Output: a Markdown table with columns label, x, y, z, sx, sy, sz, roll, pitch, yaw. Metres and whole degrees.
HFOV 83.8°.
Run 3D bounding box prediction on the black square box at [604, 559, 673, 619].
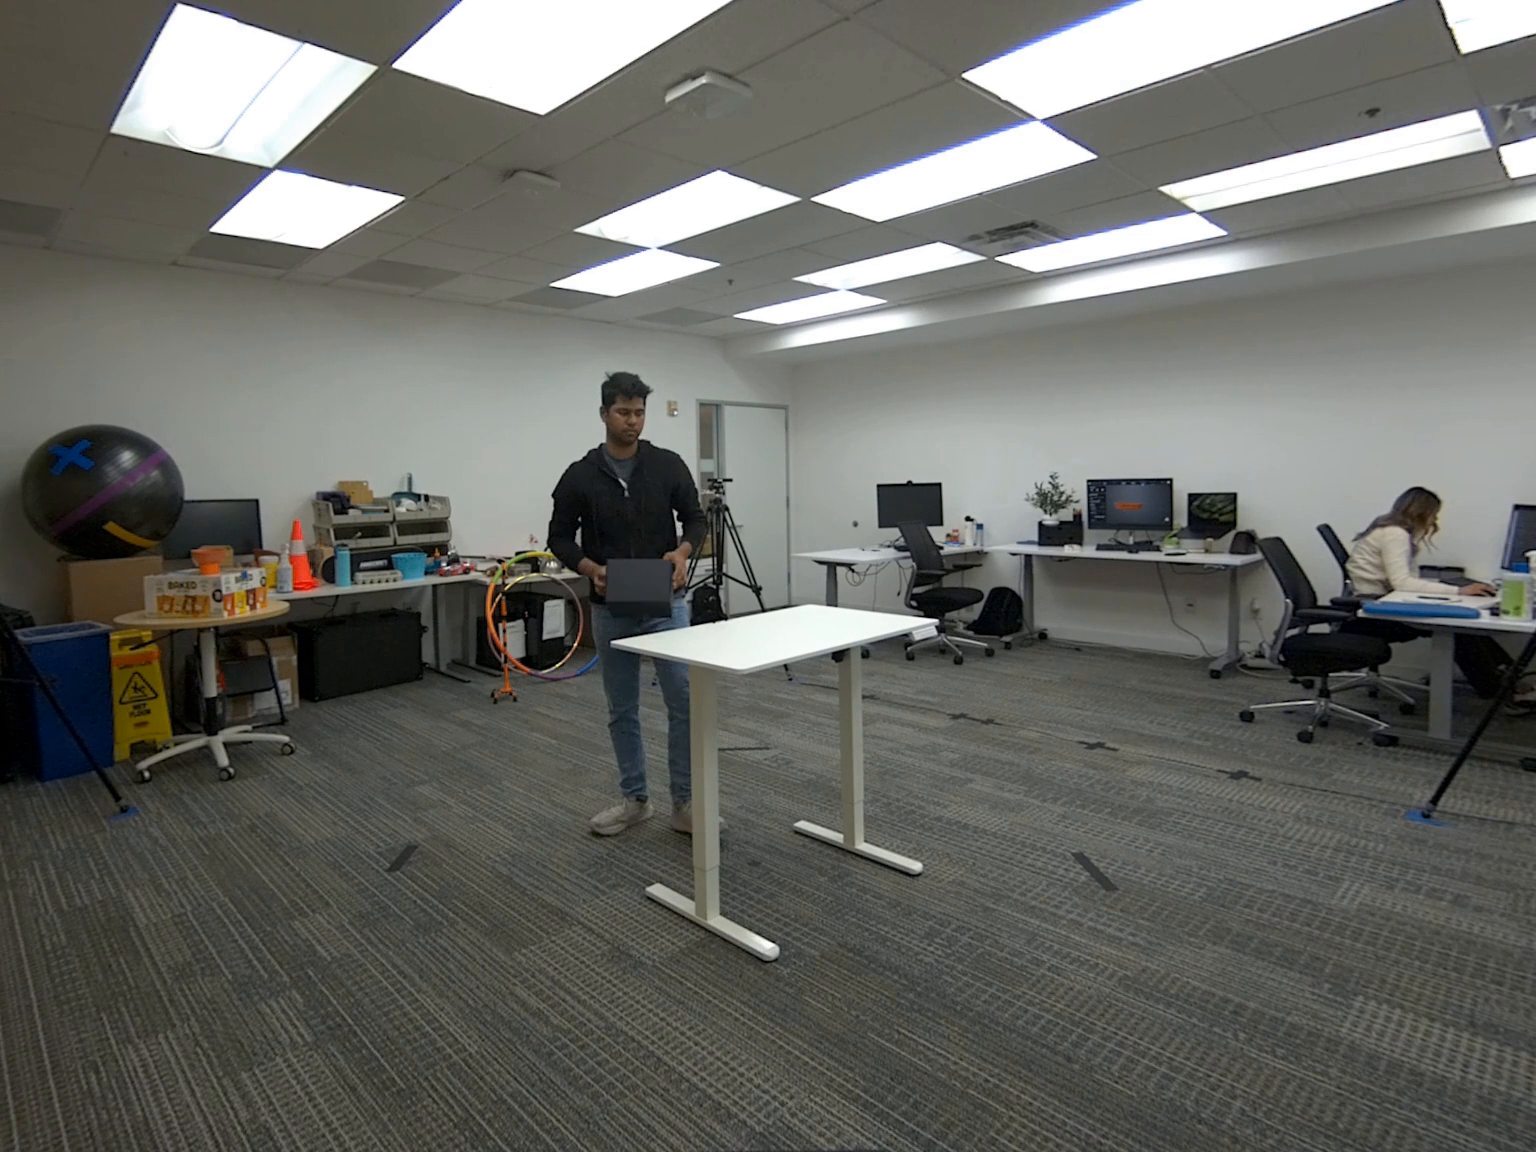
| label | x | y | z | sx | sy | sz | roll | pitch | yaw |
| --- | --- | --- | --- | --- | --- | --- | --- | --- | --- |
| black square box | -0.460 | 0.050 | 3.065 | 0.228 | 0.158 | 0.214 | 4 | -19 | -2 |
